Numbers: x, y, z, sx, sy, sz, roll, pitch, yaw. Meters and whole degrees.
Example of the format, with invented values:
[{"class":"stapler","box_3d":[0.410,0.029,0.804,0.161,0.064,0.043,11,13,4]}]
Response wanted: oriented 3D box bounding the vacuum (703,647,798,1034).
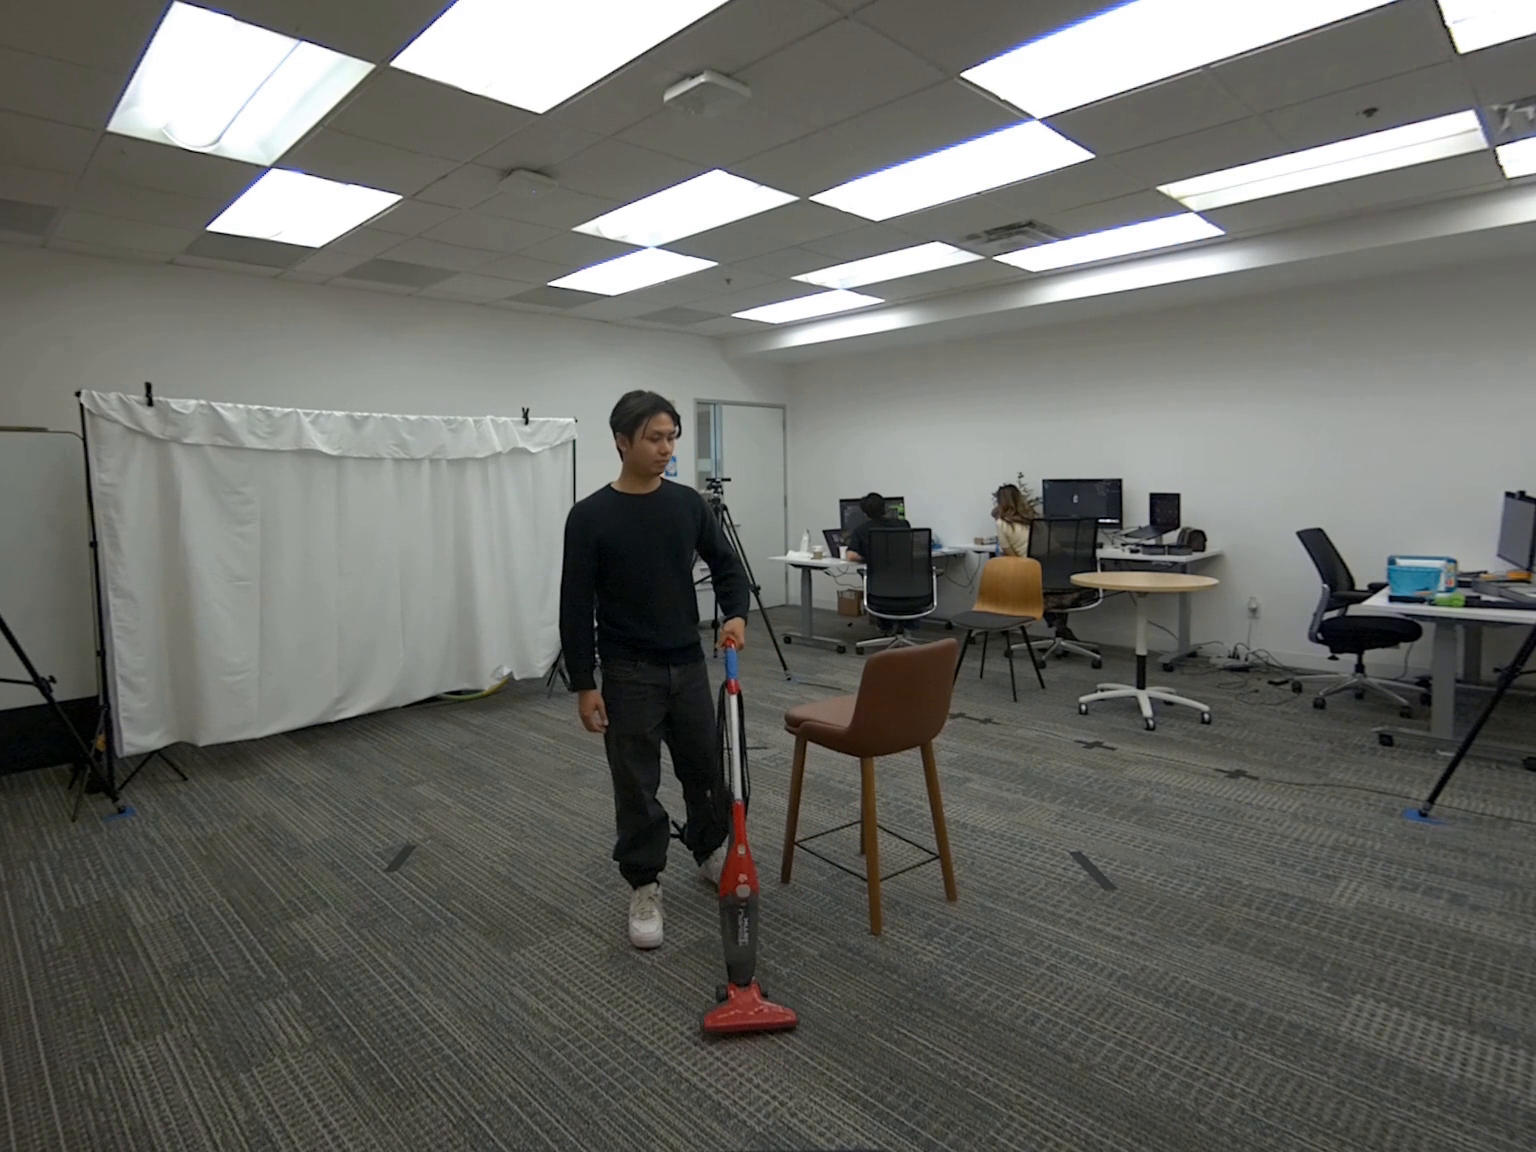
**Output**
[{"class":"vacuum","box_3d":[-0.085,0.651,2.413,0.249,1.072,0.143,2,-24,-14]}]
